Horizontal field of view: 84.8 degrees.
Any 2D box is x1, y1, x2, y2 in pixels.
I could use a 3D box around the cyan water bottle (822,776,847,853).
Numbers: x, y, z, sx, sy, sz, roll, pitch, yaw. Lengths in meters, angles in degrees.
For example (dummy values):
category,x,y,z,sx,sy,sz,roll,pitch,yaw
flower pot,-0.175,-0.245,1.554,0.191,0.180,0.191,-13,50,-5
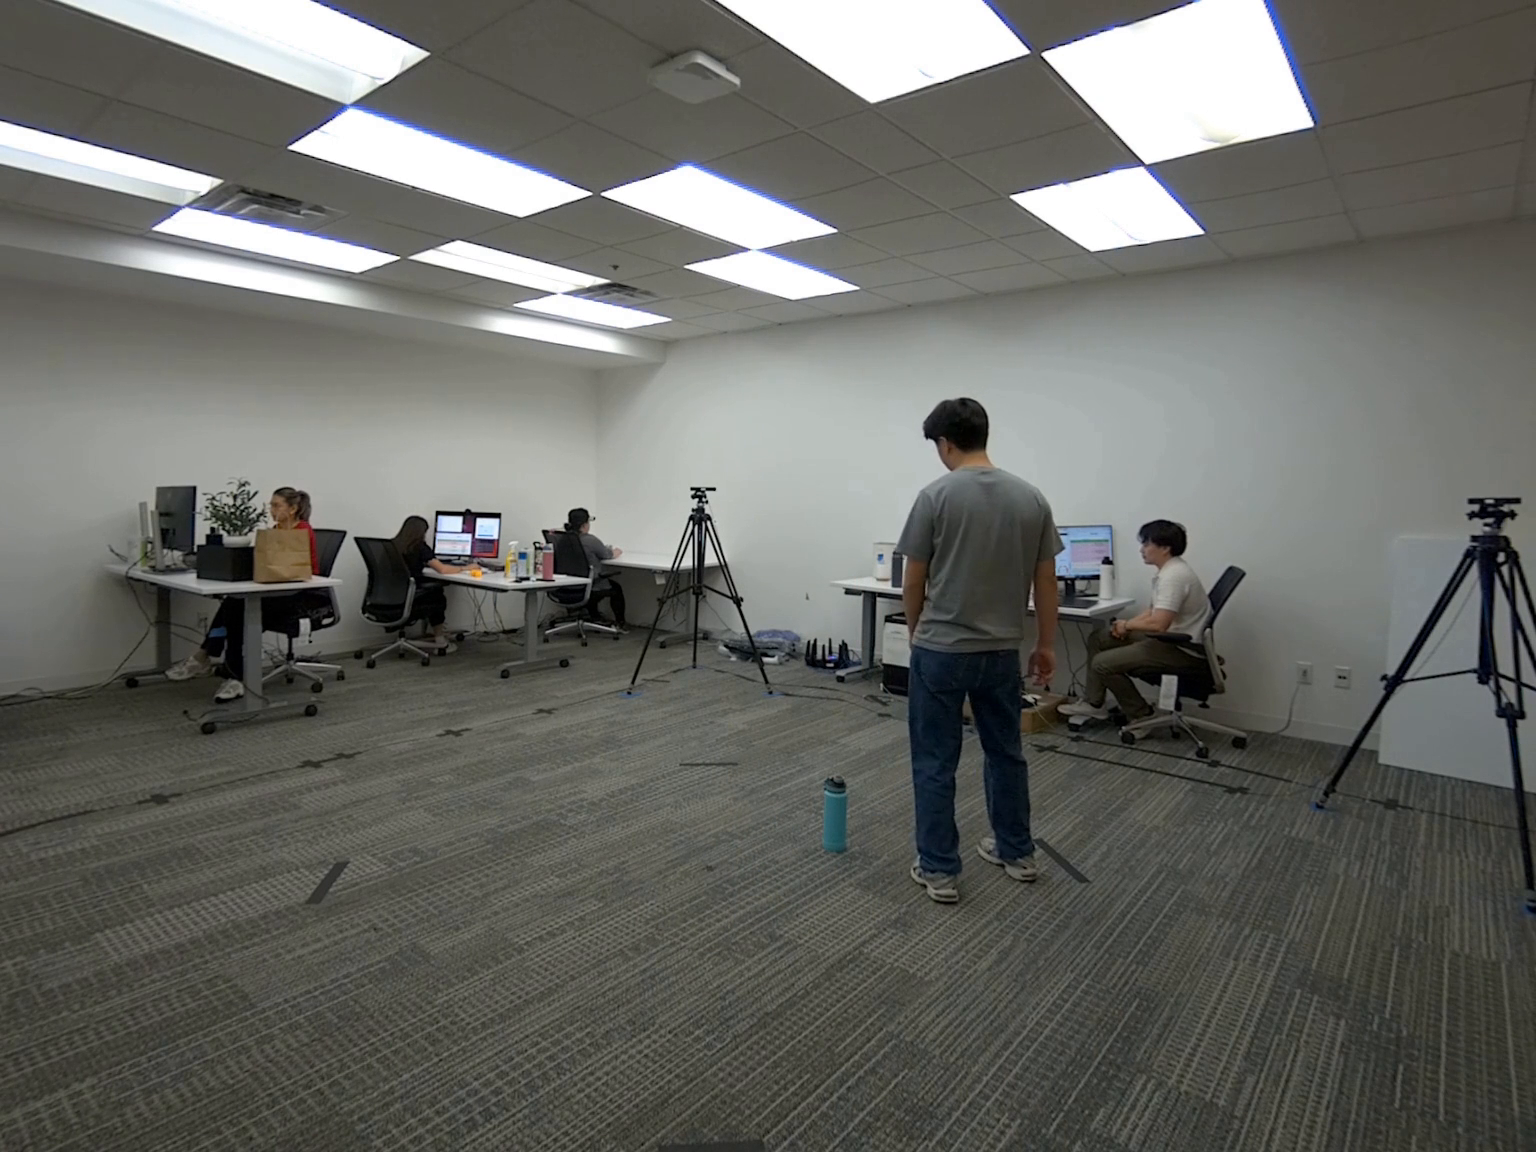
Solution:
category,x,y,z,sx,sy,sz,roll,pitch,yaw
cyan water bottle,0.253,0.915,3.312,0.092,0.283,0.092,1,2,-2
